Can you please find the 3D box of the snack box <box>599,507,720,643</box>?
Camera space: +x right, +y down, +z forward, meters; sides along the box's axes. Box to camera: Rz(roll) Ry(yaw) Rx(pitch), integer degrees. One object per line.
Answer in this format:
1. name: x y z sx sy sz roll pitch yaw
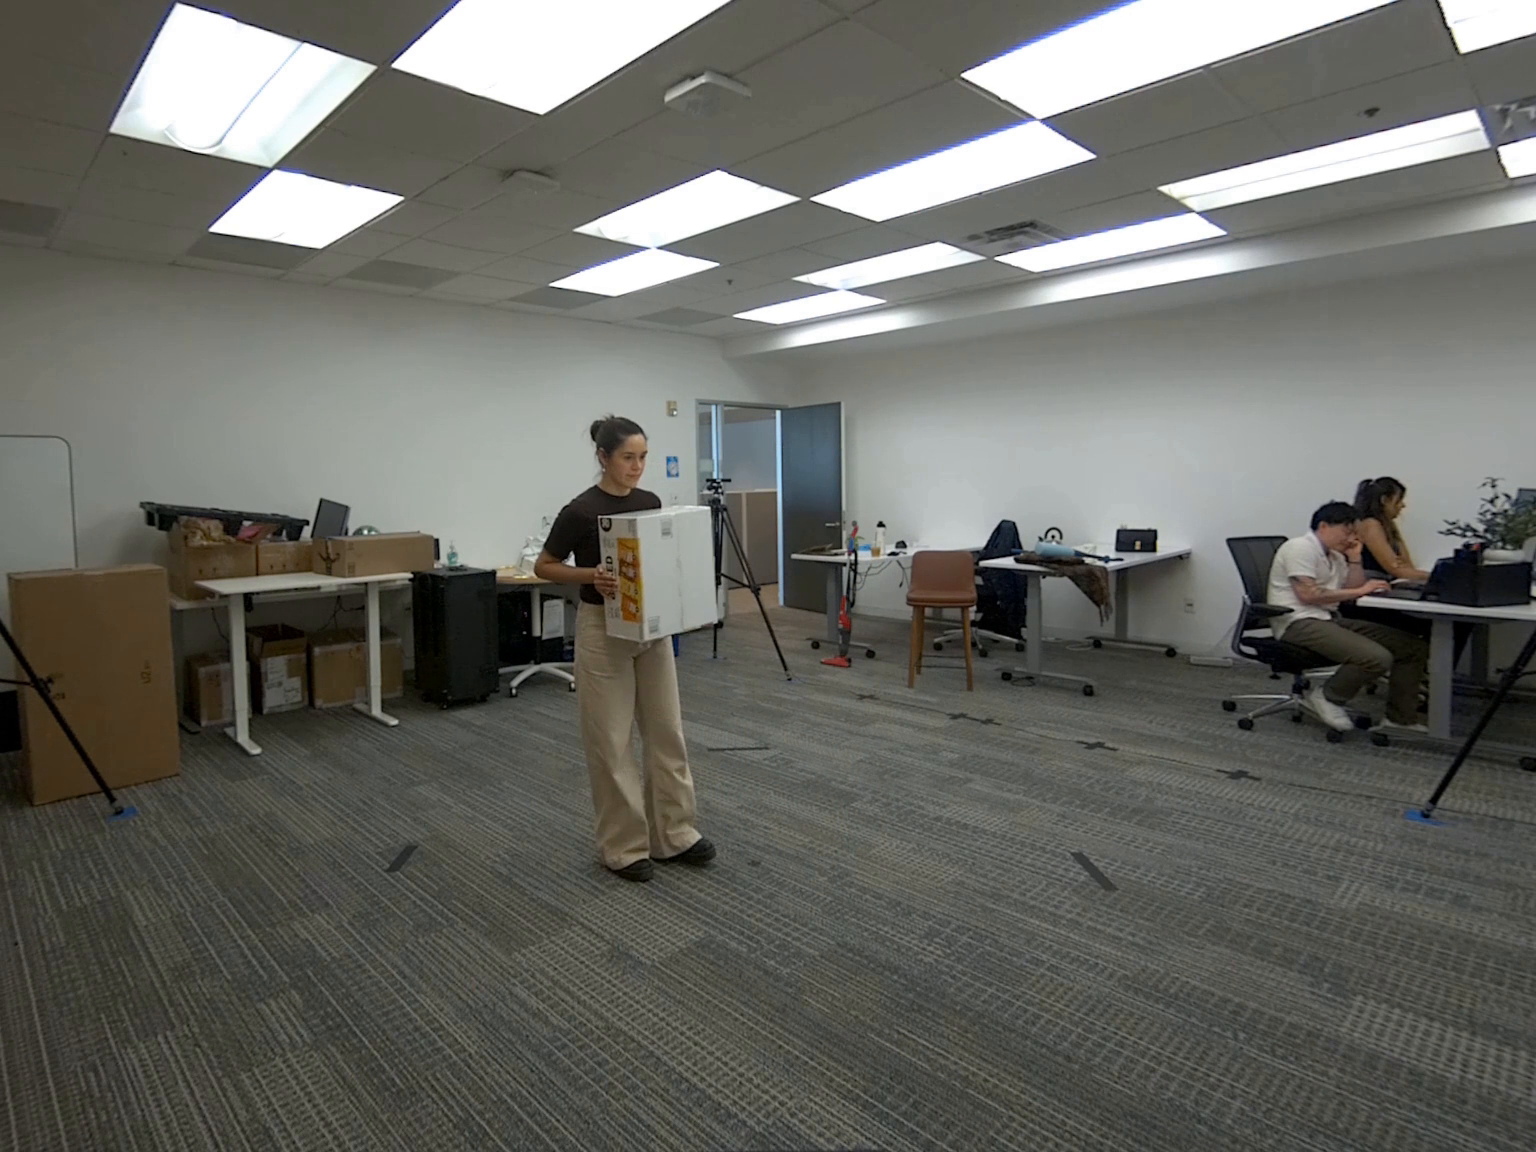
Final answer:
1. snack box: -0.371 -0.015 2.919 0.212 0.403 0.332 3 9 44
